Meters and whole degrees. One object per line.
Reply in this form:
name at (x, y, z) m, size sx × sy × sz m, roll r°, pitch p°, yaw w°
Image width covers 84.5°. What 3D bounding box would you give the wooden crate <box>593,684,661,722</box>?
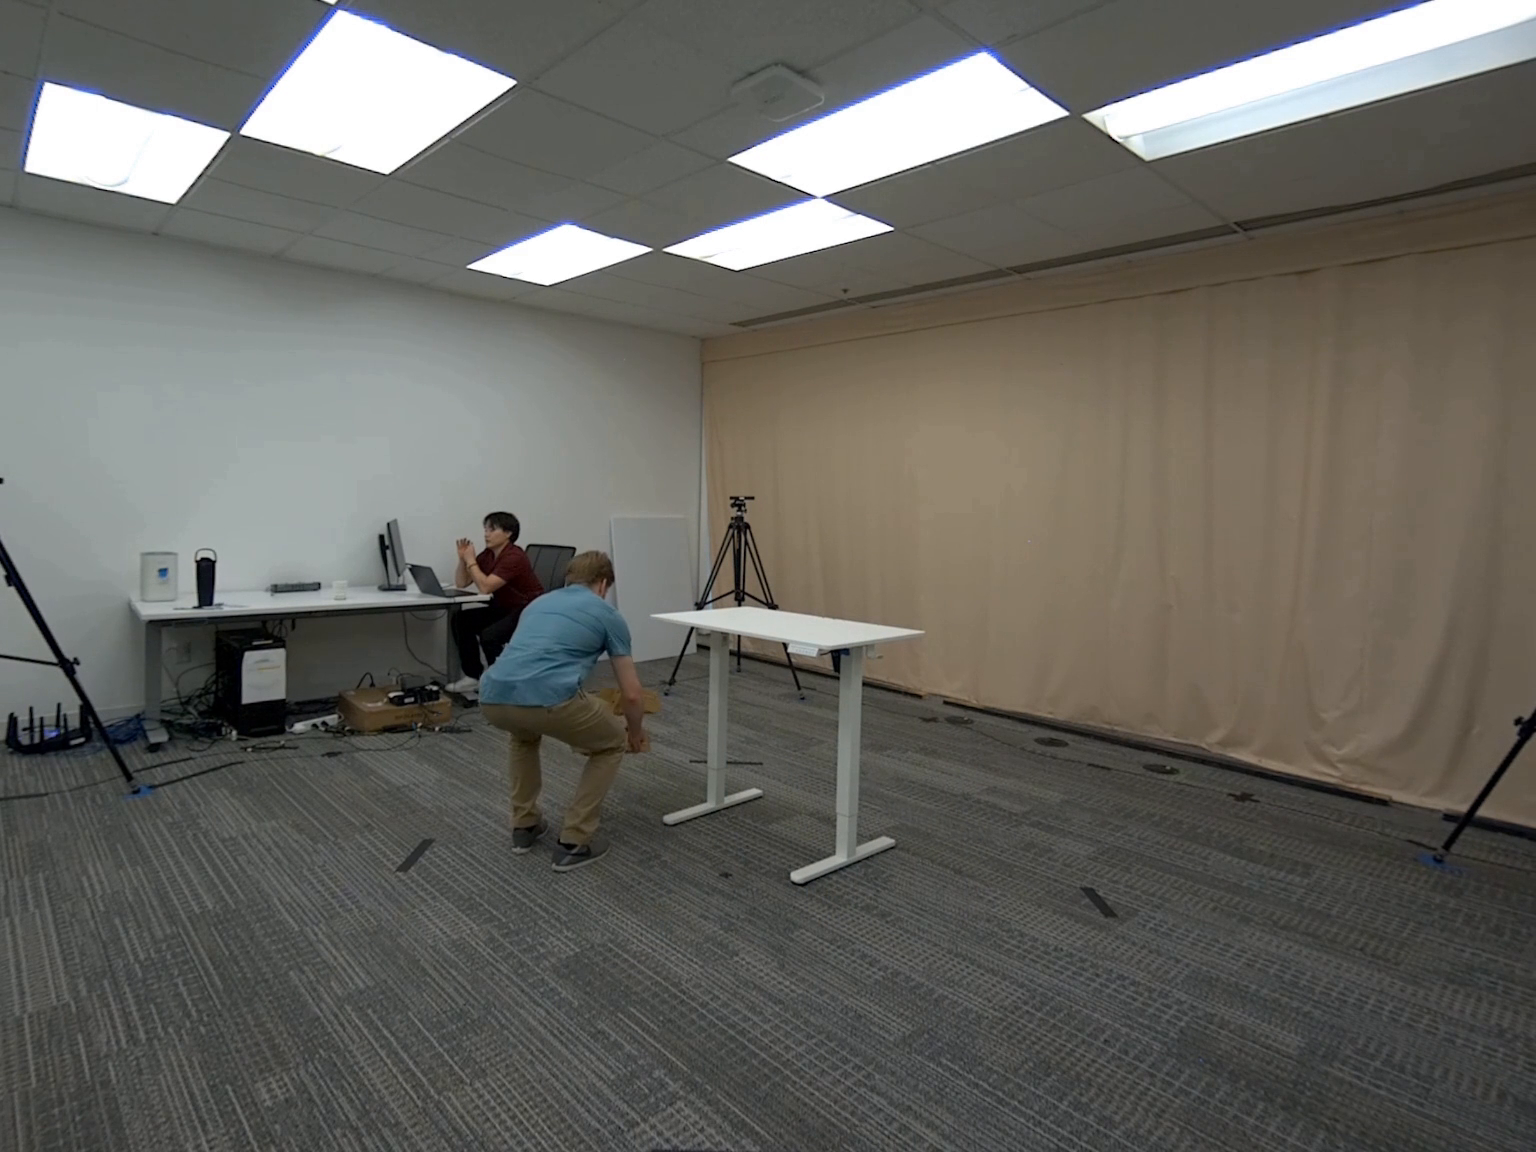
wooden crate at (-0.677, 0.637, 3.697) m, size 0.306 × 0.276 × 0.317 m, roll -4°, pitch -14°, yaw 19°
